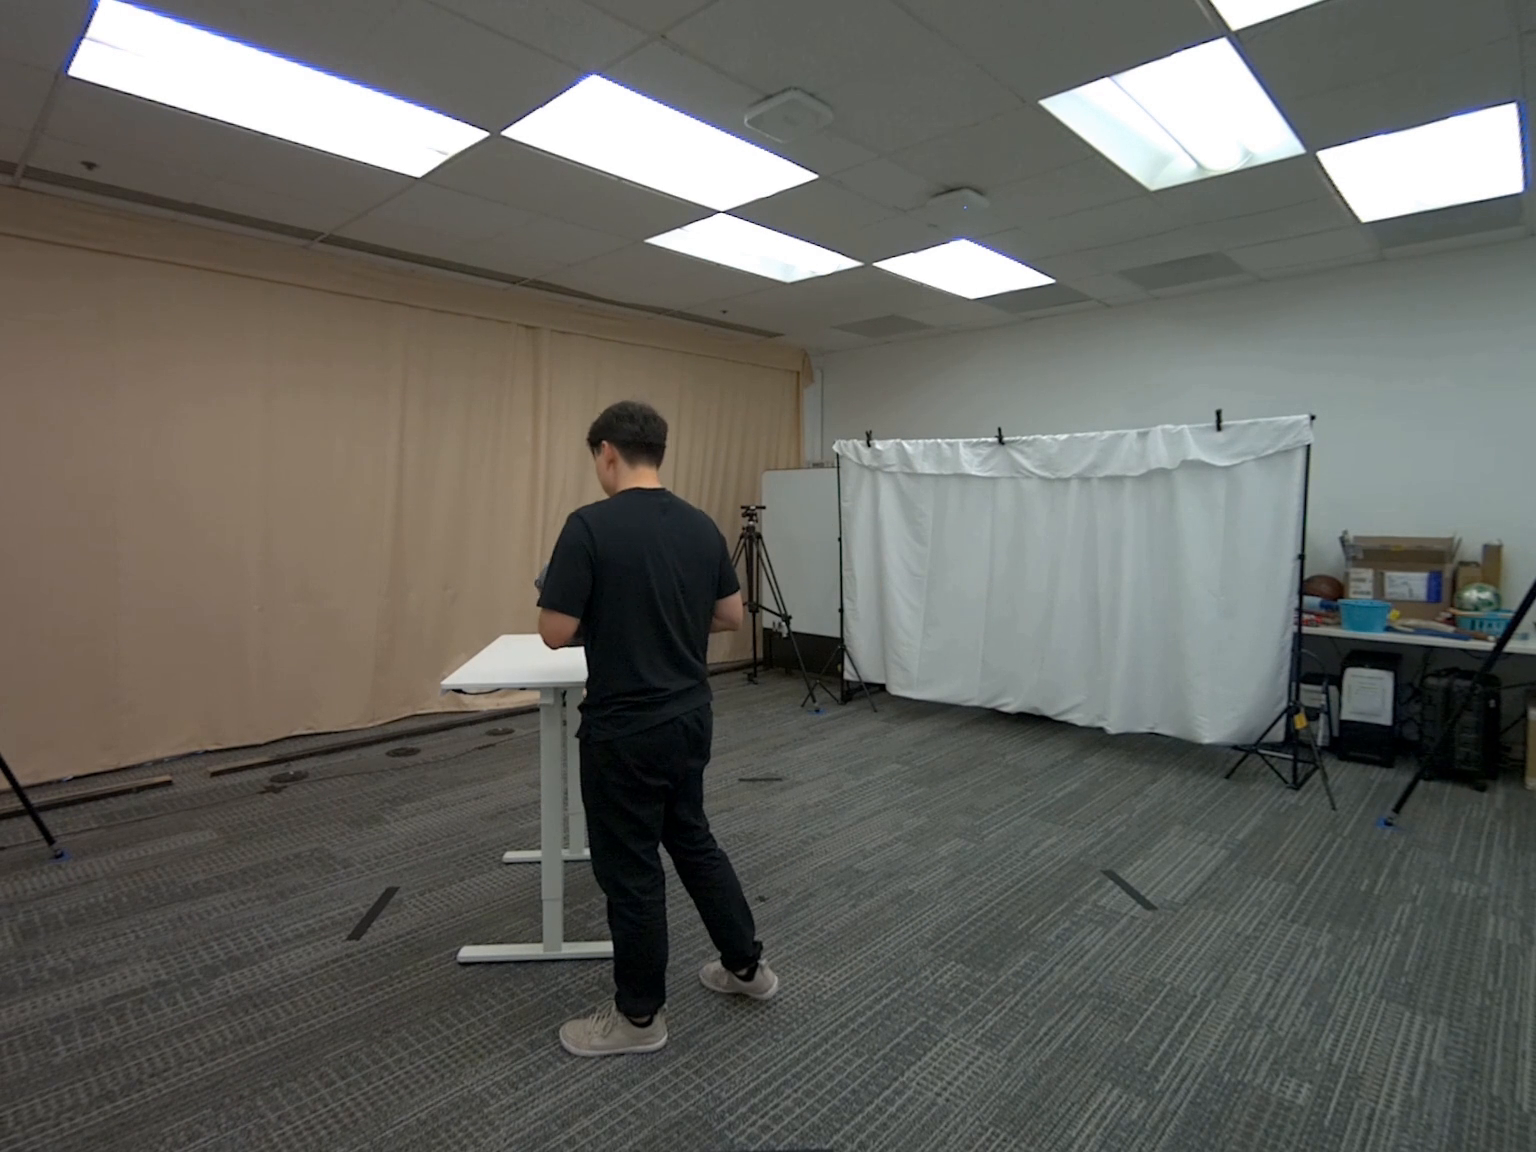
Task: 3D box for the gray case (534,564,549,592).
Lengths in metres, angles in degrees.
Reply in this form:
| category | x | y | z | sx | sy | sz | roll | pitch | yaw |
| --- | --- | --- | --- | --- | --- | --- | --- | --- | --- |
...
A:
| category | x | y | z | sx | sy | sz | roll | pitch | yaw |
| --- | --- | --- | --- | --- | --- | --- | --- | --- | --- |
| gray case | -0.506 | 0.071 | 2.398 | 0.249 | 0.104 | 0.268 | 0 | 47 | -42 |
